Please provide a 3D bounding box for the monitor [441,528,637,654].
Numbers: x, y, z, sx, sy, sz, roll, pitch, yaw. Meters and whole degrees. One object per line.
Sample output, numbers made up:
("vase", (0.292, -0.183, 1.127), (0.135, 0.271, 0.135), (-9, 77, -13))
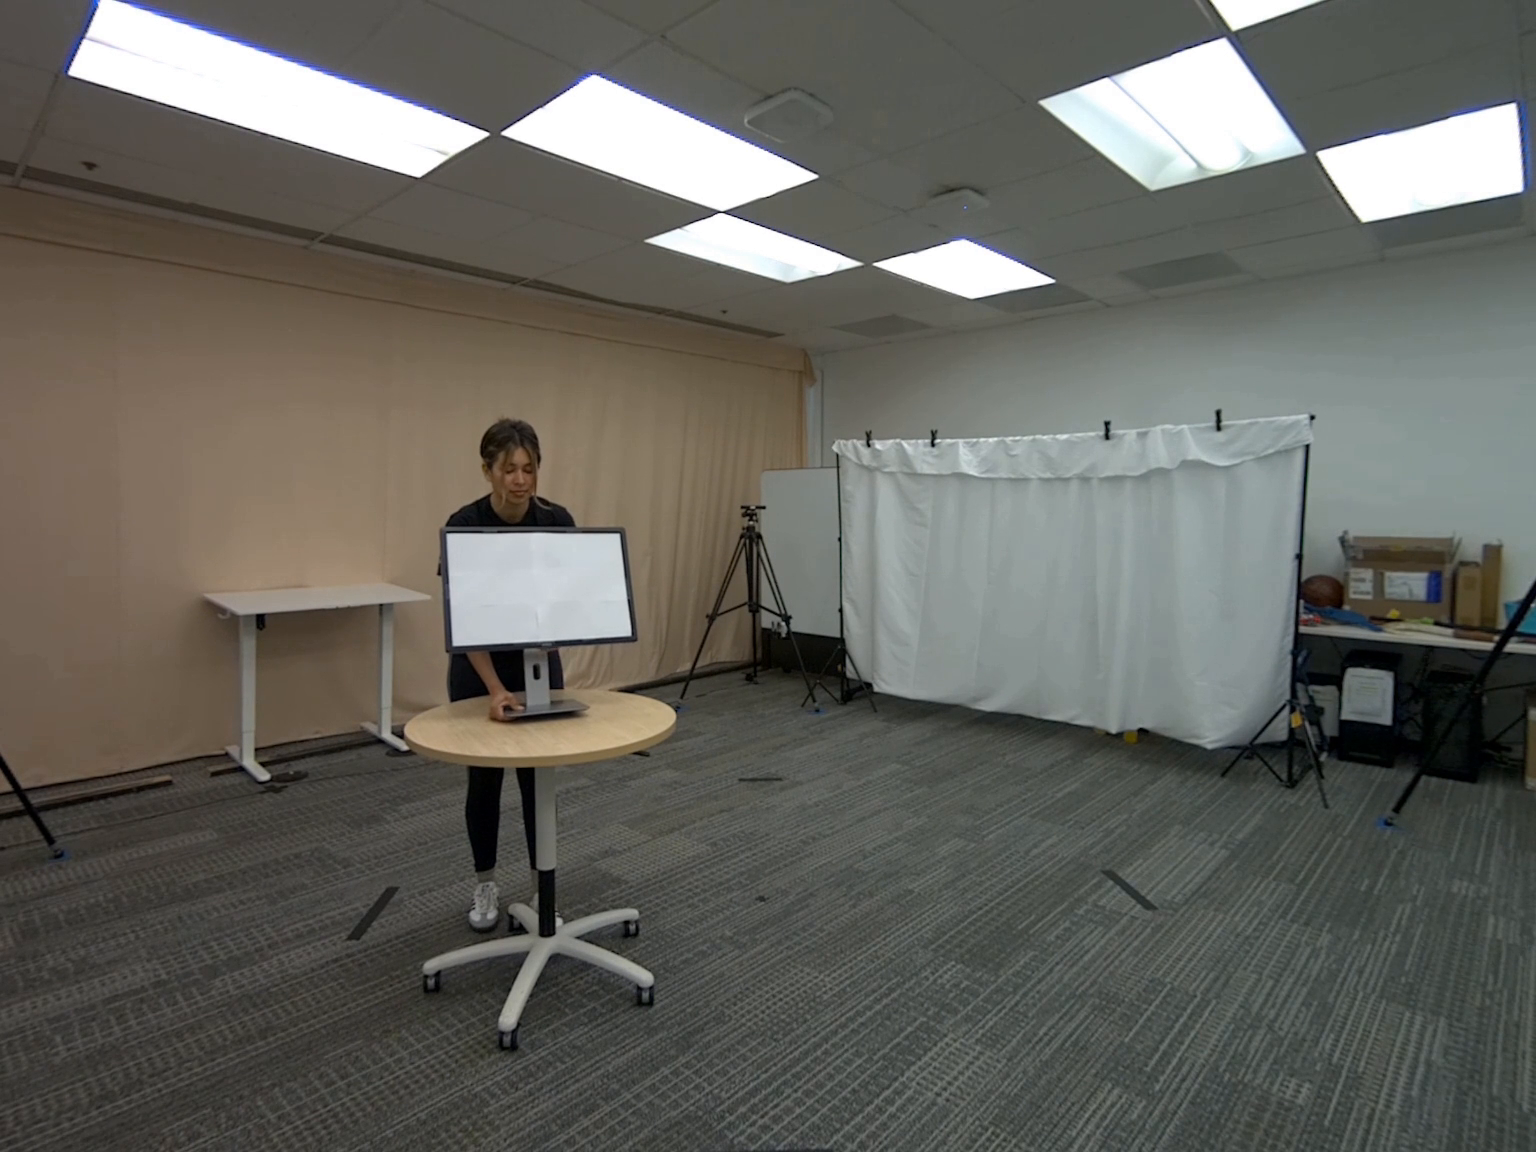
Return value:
("monitor", (-0.682, 0.130, 2.504), (0.525, 0.523, 0.191), (0, -3, -28))
